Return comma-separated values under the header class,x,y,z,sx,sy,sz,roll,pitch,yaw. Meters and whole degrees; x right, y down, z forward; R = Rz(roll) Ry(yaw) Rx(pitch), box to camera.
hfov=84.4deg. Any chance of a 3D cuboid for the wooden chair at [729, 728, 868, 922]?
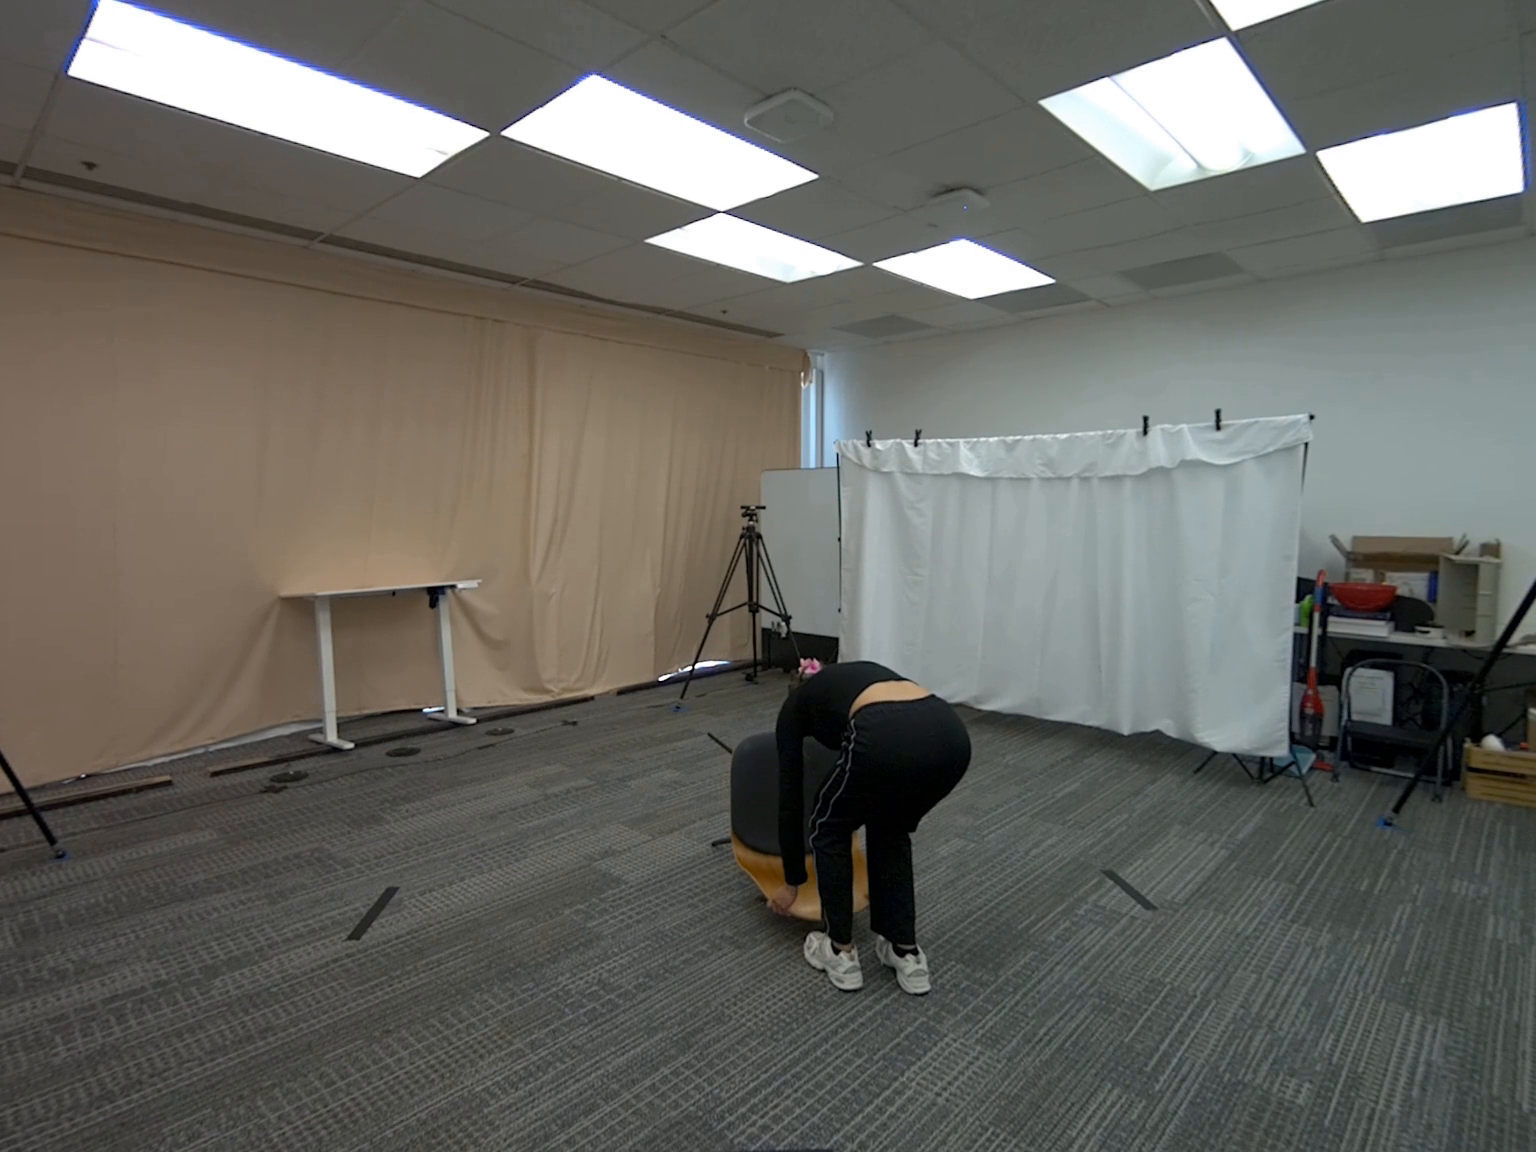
class,x,y,z,sx,sy,sz,roll,pitch,yaw
wooden chair,0.083,0.832,3.099,0.472,0.523,0.889,-1,0,-14
